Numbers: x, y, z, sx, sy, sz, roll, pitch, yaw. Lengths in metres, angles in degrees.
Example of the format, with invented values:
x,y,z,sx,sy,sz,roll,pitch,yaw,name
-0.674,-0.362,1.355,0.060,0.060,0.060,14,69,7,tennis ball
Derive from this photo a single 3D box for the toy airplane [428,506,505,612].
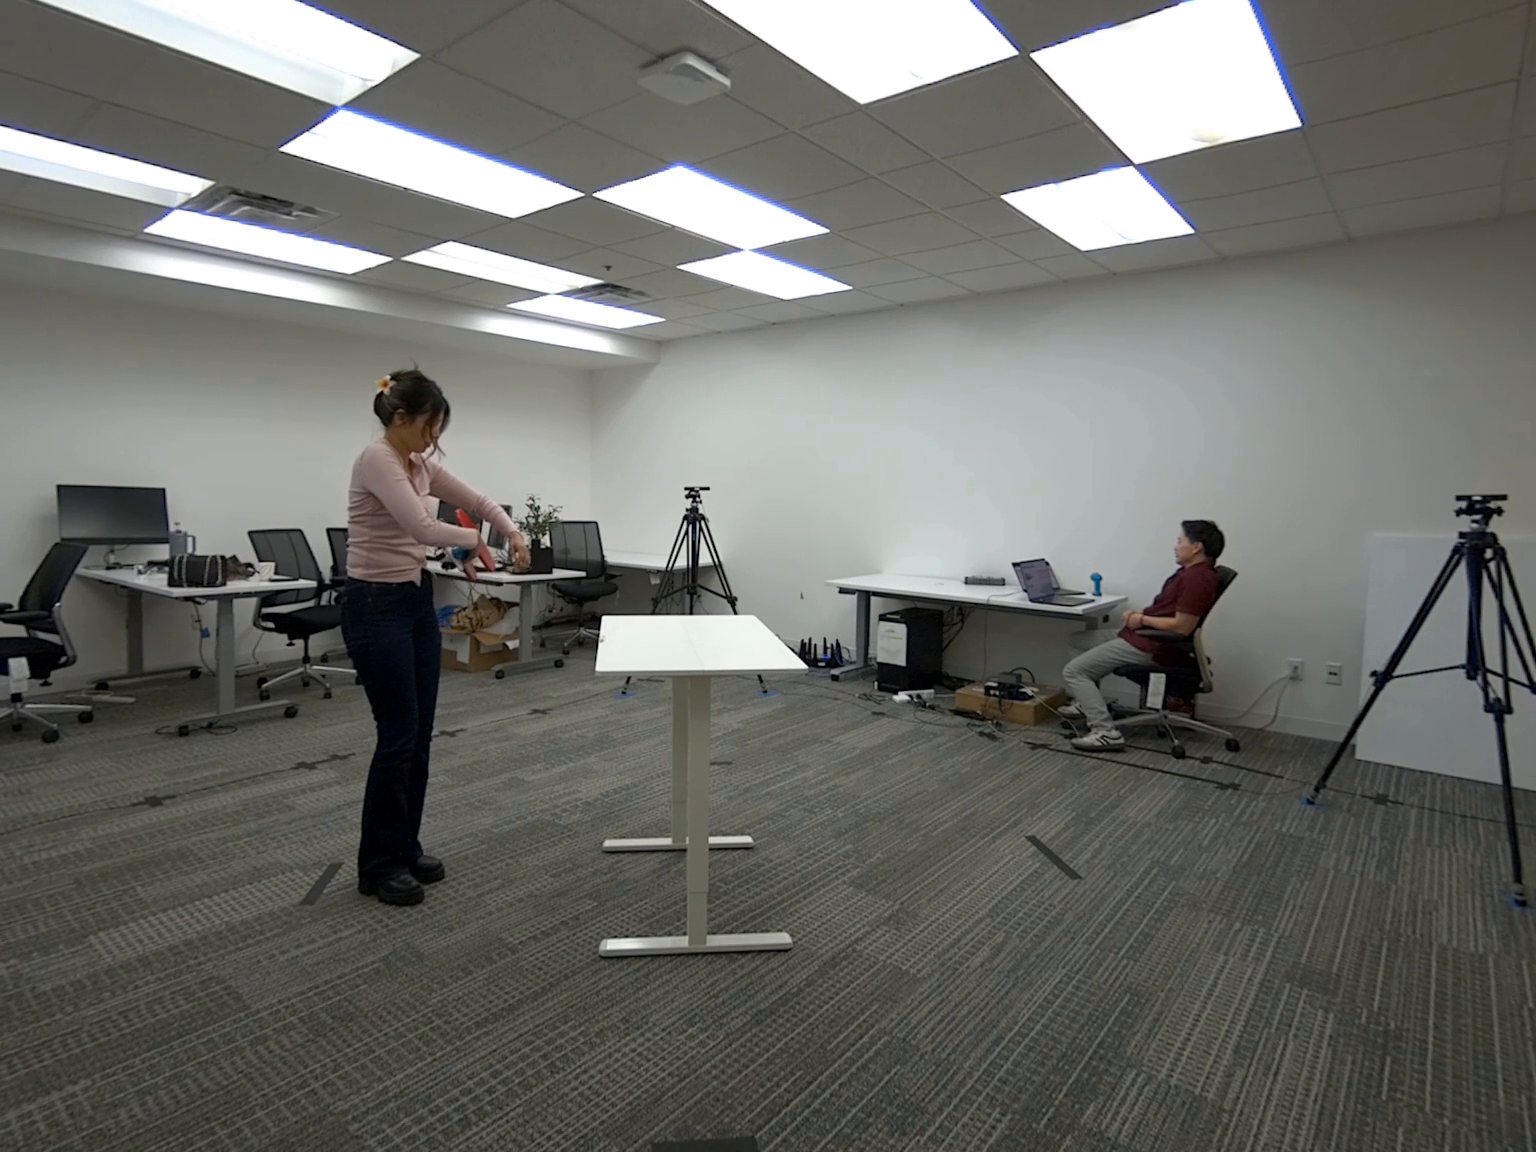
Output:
x,y,z,sx,sy,sz,roll,pitch,yaw,name
-1.105,-0.071,3.033,0.155,0.242,0.270,-28,42,-12,toy airplane
